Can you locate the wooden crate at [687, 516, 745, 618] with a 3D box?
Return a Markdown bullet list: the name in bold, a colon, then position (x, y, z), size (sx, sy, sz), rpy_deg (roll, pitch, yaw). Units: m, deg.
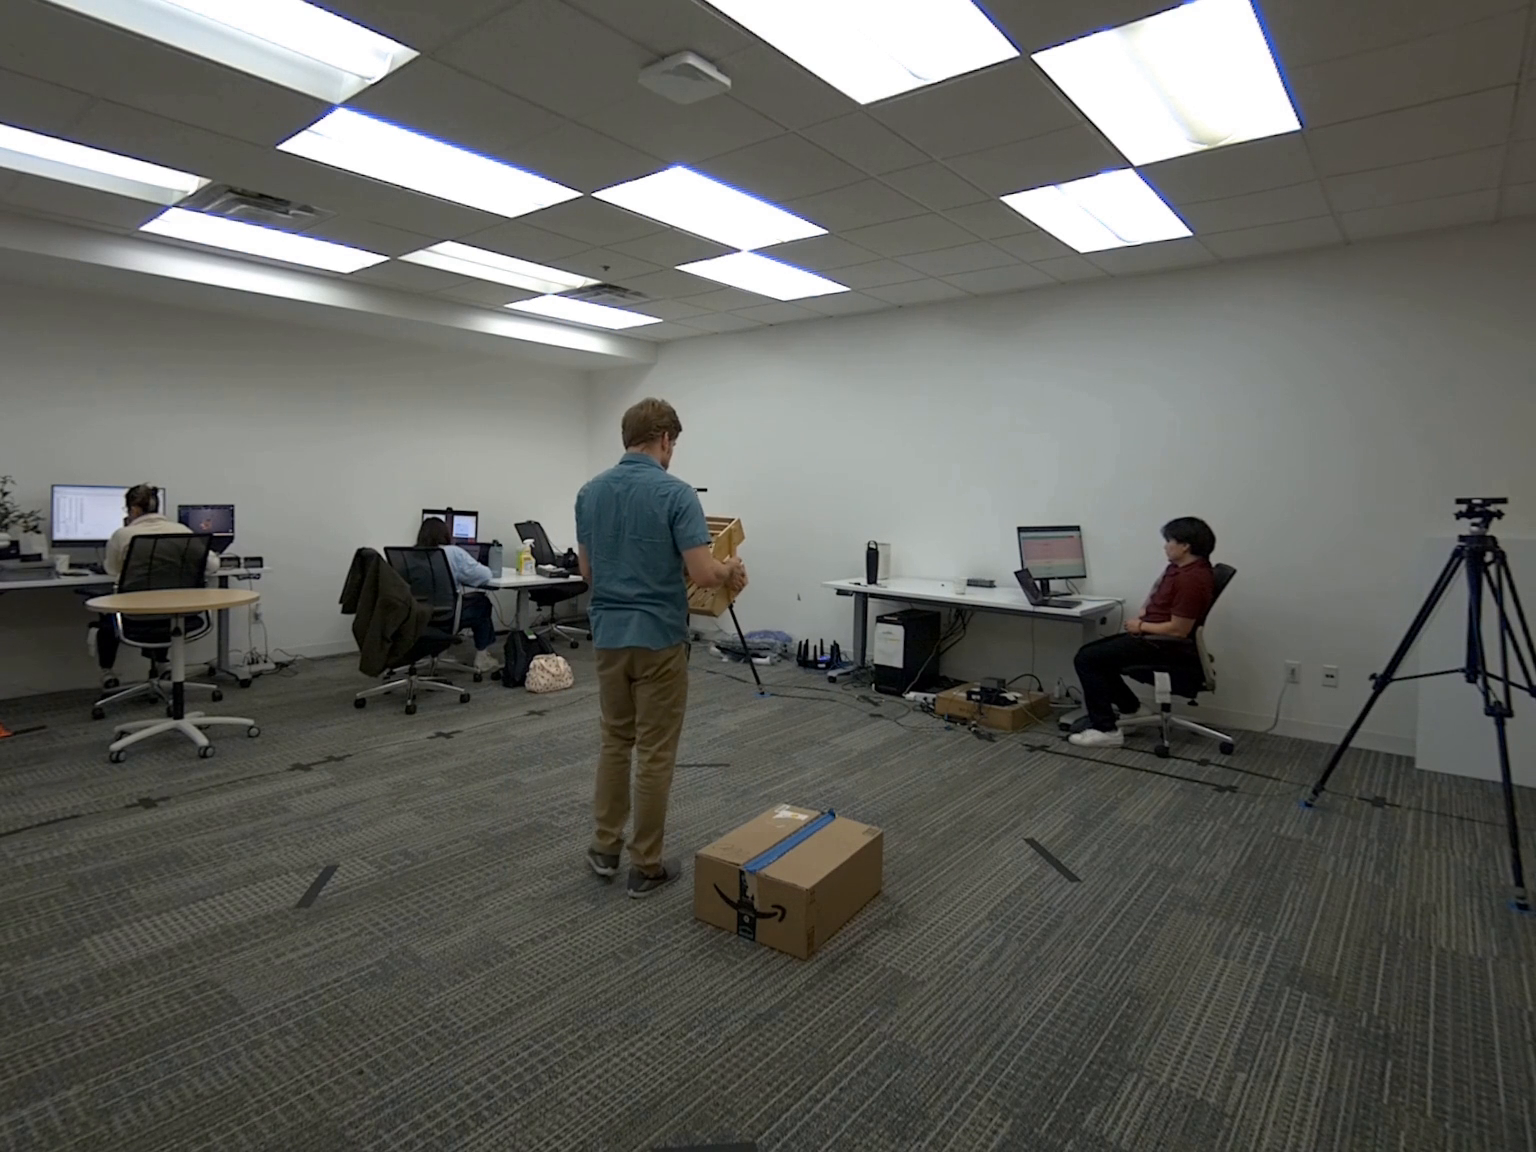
- **wooden crate**: position (-0.296, -0.047, 3.184), size (0.335, 0.265, 0.301), rpy_deg (5, 33, 33)
